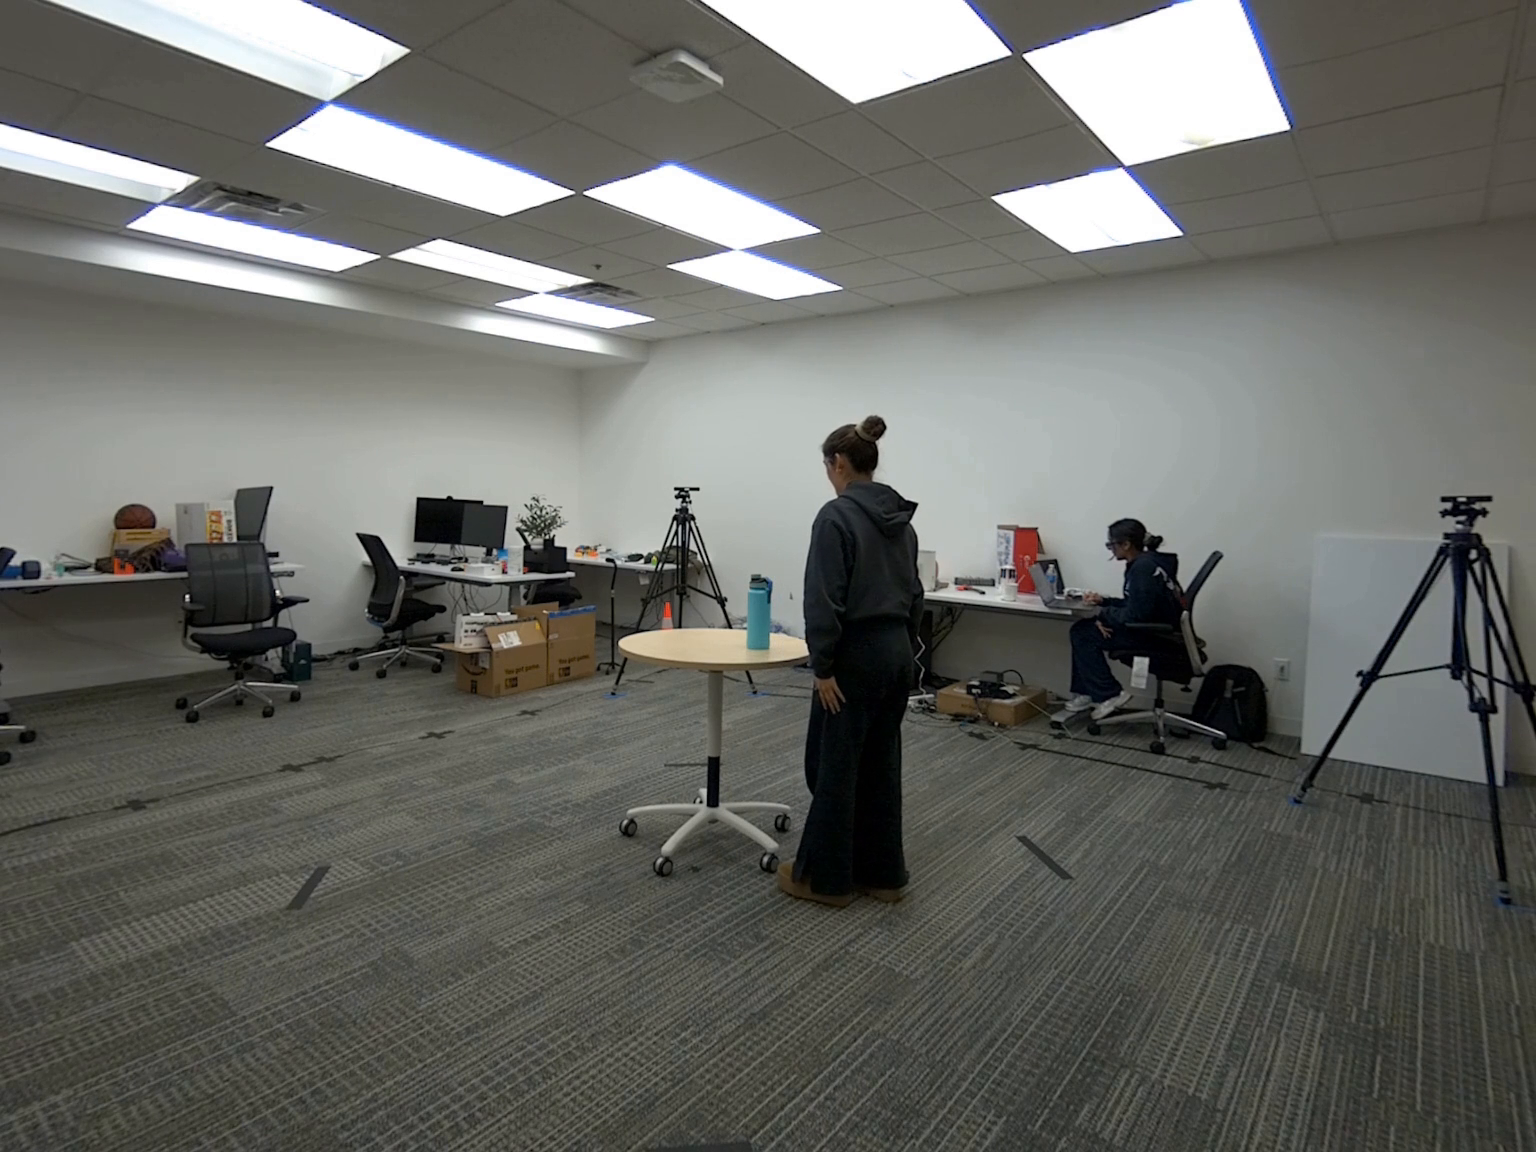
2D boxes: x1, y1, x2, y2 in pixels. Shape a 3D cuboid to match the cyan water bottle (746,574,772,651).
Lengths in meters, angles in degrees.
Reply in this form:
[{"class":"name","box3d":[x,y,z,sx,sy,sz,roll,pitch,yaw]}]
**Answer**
[{"class":"cyan water bottle","box3d":[-0.037,0.134,3.260,0.092,0.283,0.093,5,3,-2]}]
